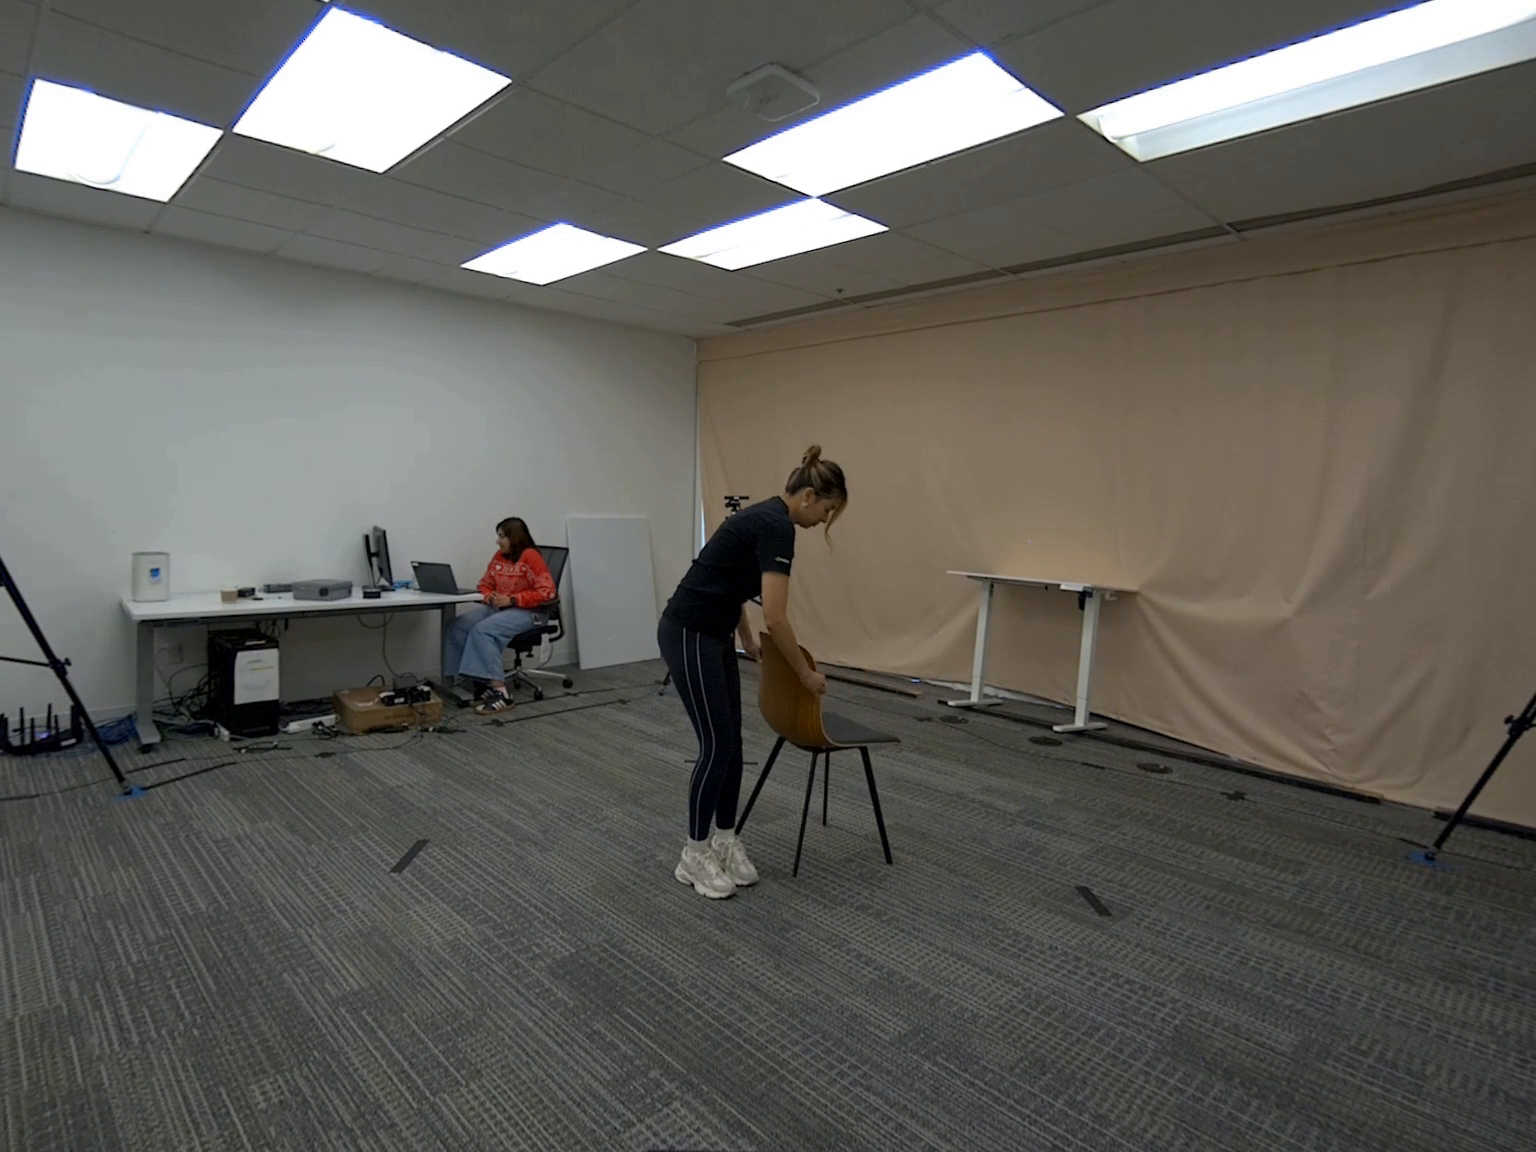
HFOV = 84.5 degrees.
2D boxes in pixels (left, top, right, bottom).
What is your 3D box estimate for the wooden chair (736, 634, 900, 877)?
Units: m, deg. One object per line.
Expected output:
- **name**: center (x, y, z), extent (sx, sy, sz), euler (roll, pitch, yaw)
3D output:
- **wooden chair**: center (0.214, 0.648, 3.313), extent (0.513, 0.875, 0.489), euler (0, 4, -30)
